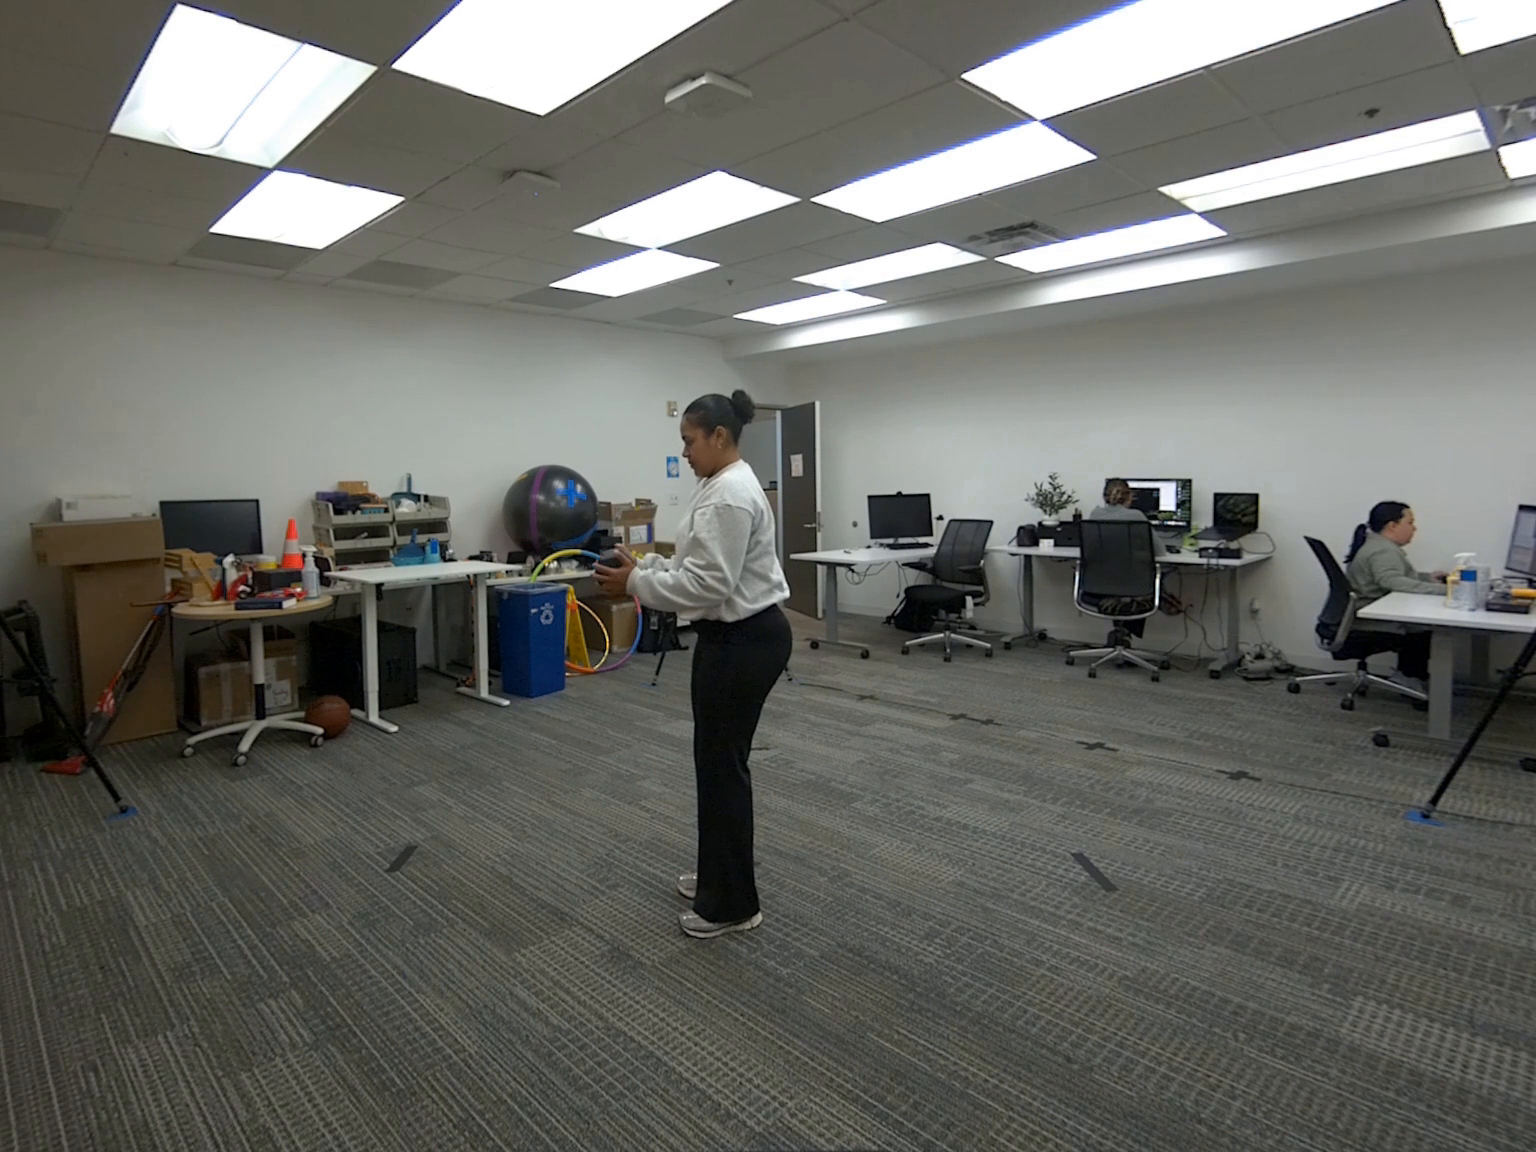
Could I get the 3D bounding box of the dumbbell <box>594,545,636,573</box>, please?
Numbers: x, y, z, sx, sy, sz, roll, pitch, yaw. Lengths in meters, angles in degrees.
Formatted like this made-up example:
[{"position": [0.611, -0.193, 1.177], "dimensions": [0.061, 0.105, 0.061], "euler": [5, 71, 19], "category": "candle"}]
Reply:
[{"position": [-0.465, -0.025, 2.682], "dimensions": [0.123, 0.108, 0.295], "euler": [-17, 6, -2], "category": "dumbbell"}]
